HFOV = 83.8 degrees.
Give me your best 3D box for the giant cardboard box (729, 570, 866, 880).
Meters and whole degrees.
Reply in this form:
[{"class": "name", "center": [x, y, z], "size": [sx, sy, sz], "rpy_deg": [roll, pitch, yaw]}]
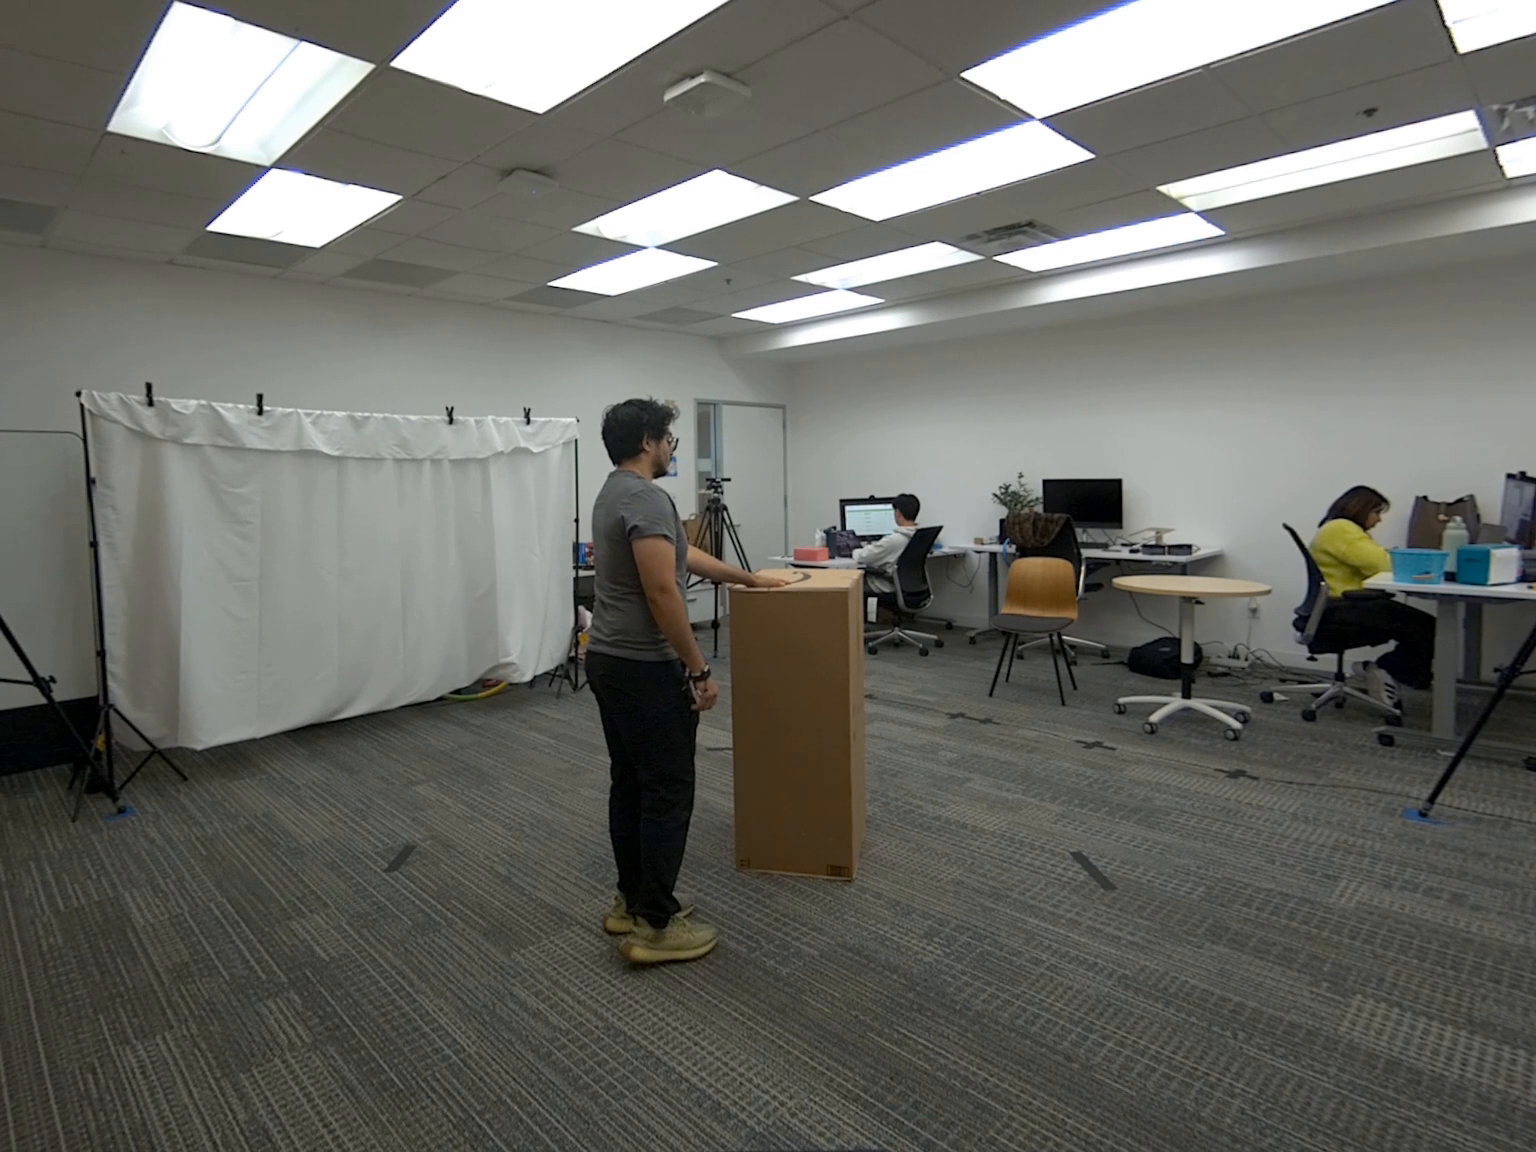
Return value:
[{"class": "giant cardboard box", "center": [0.127, 0.512, 3.238], "size": [0.432, 1.022, 0.572], "rpy_deg": [0, 5, 12]}]
